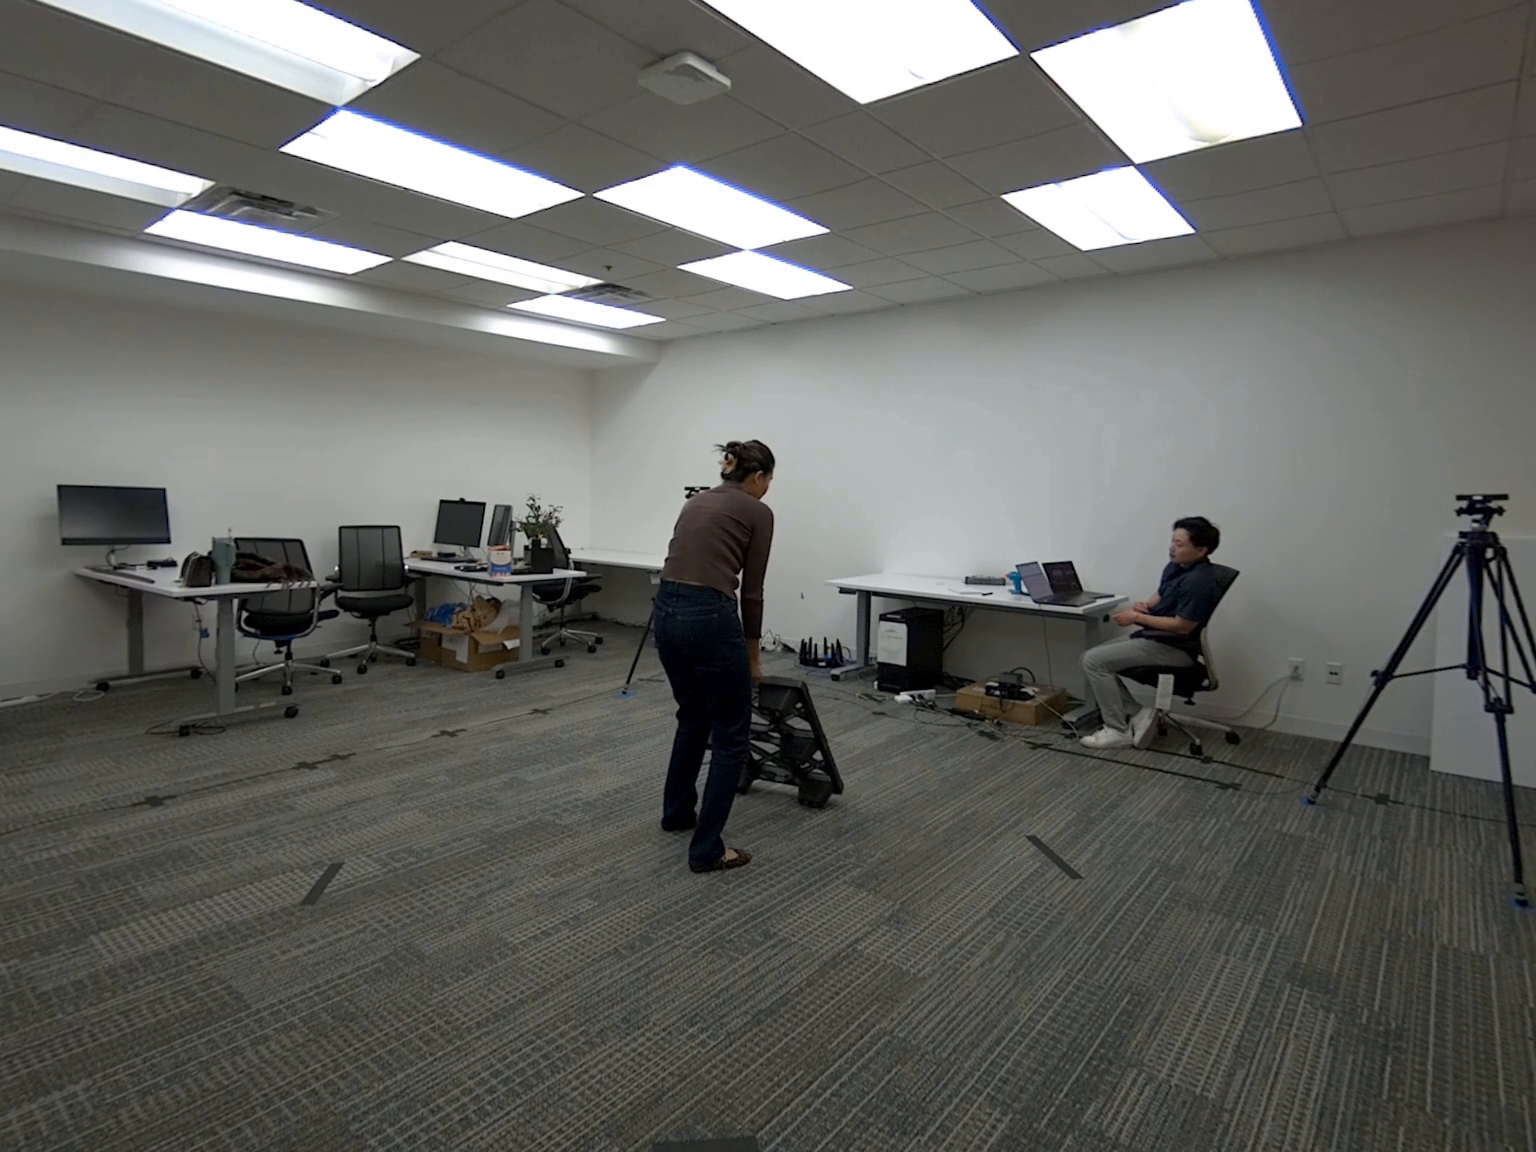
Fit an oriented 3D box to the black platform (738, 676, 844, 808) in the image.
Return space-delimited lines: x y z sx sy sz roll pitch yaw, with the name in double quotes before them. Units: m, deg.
"black platform" -0.065 0.695 3.637 0.621 0.776 0.145 3 45 25
